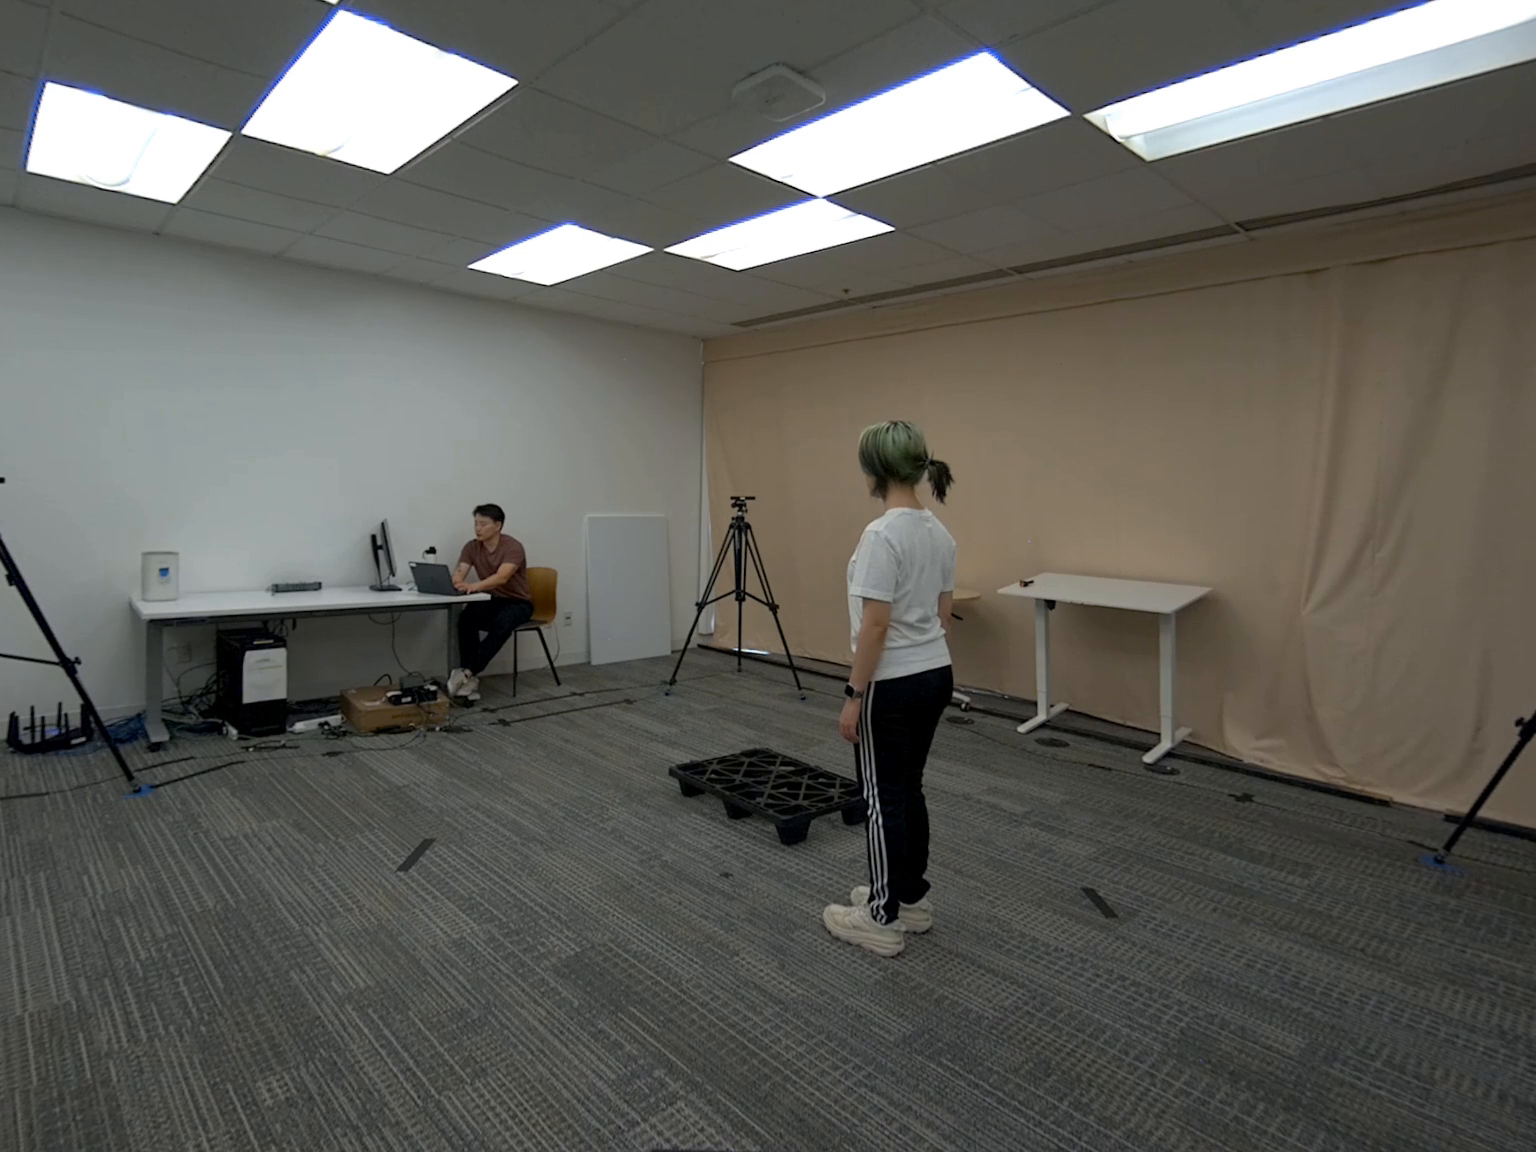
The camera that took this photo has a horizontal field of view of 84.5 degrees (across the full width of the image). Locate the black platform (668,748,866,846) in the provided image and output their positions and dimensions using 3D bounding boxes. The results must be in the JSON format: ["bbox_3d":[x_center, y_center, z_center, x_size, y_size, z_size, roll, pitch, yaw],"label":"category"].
[{"bbox_3d":[0.005,0.981,3.802,0.591,0.143,0.826,-3,7,-40],"label":"black platform"}]
